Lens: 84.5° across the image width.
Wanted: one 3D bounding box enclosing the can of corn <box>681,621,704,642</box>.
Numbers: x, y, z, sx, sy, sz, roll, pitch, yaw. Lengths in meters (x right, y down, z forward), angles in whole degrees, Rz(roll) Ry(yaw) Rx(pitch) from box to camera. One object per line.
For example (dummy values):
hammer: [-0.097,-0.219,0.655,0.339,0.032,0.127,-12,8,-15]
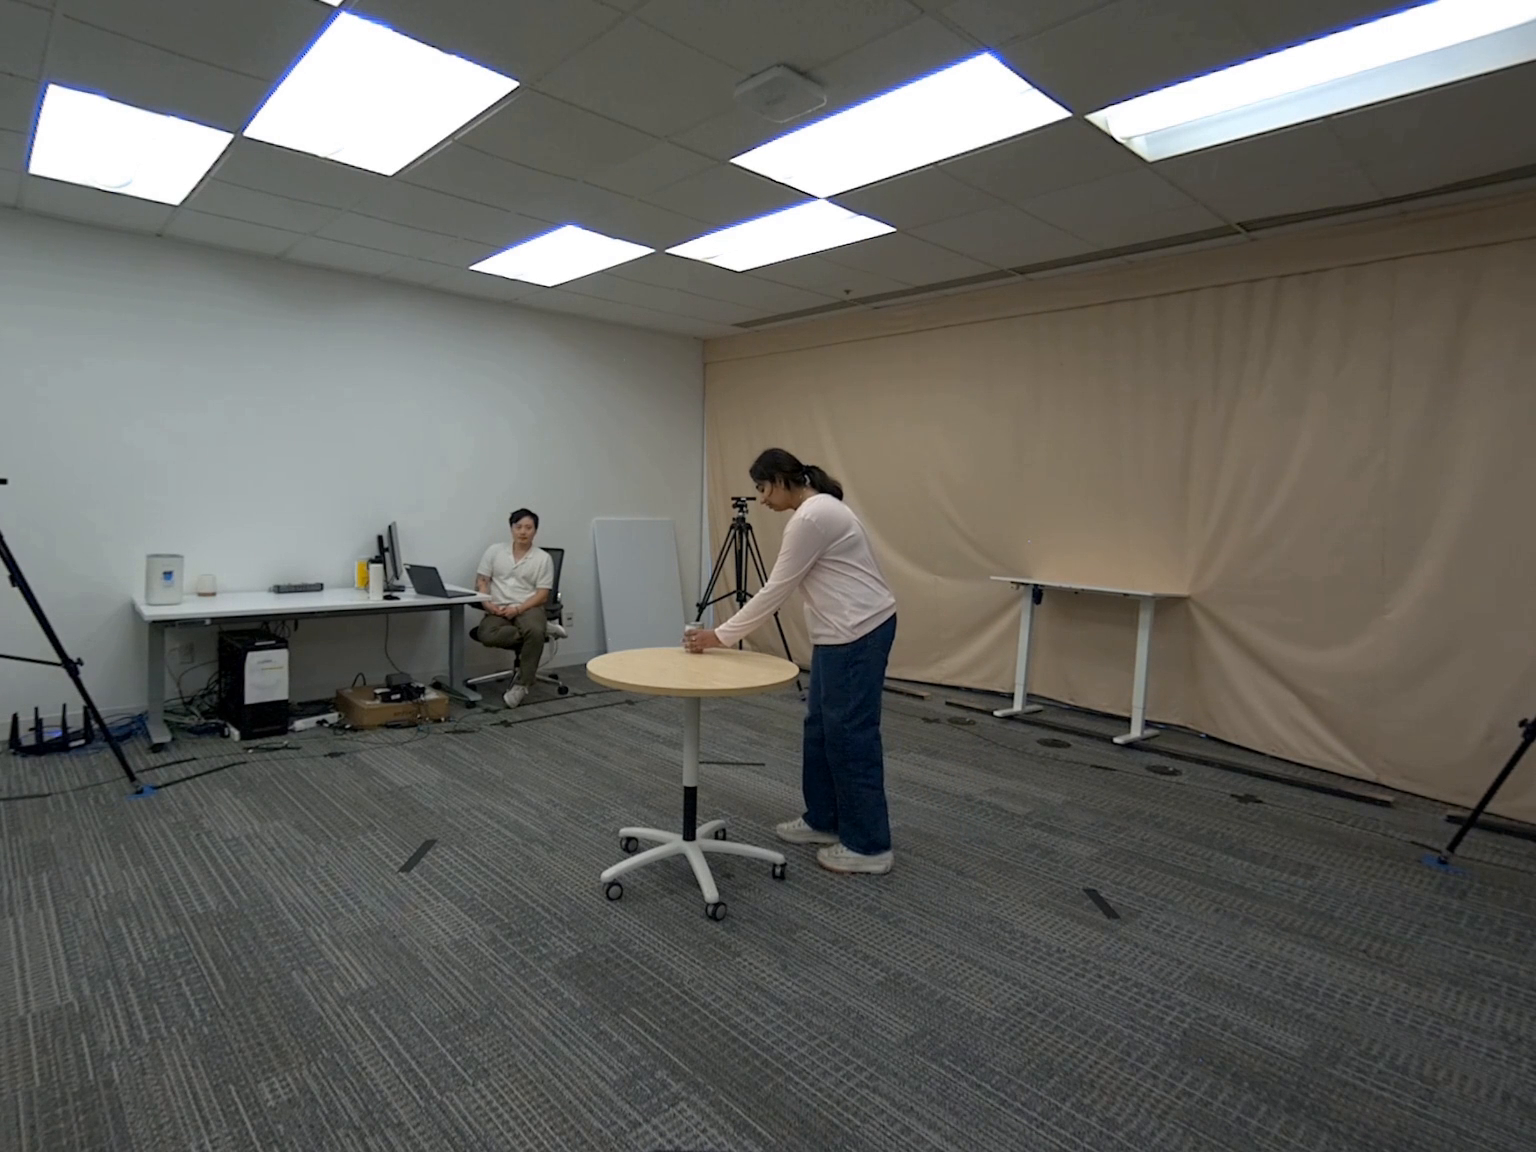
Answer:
can of corn: [-0.292,0.242,3.324,0.074,0.110,0.074,1,6,-1]
